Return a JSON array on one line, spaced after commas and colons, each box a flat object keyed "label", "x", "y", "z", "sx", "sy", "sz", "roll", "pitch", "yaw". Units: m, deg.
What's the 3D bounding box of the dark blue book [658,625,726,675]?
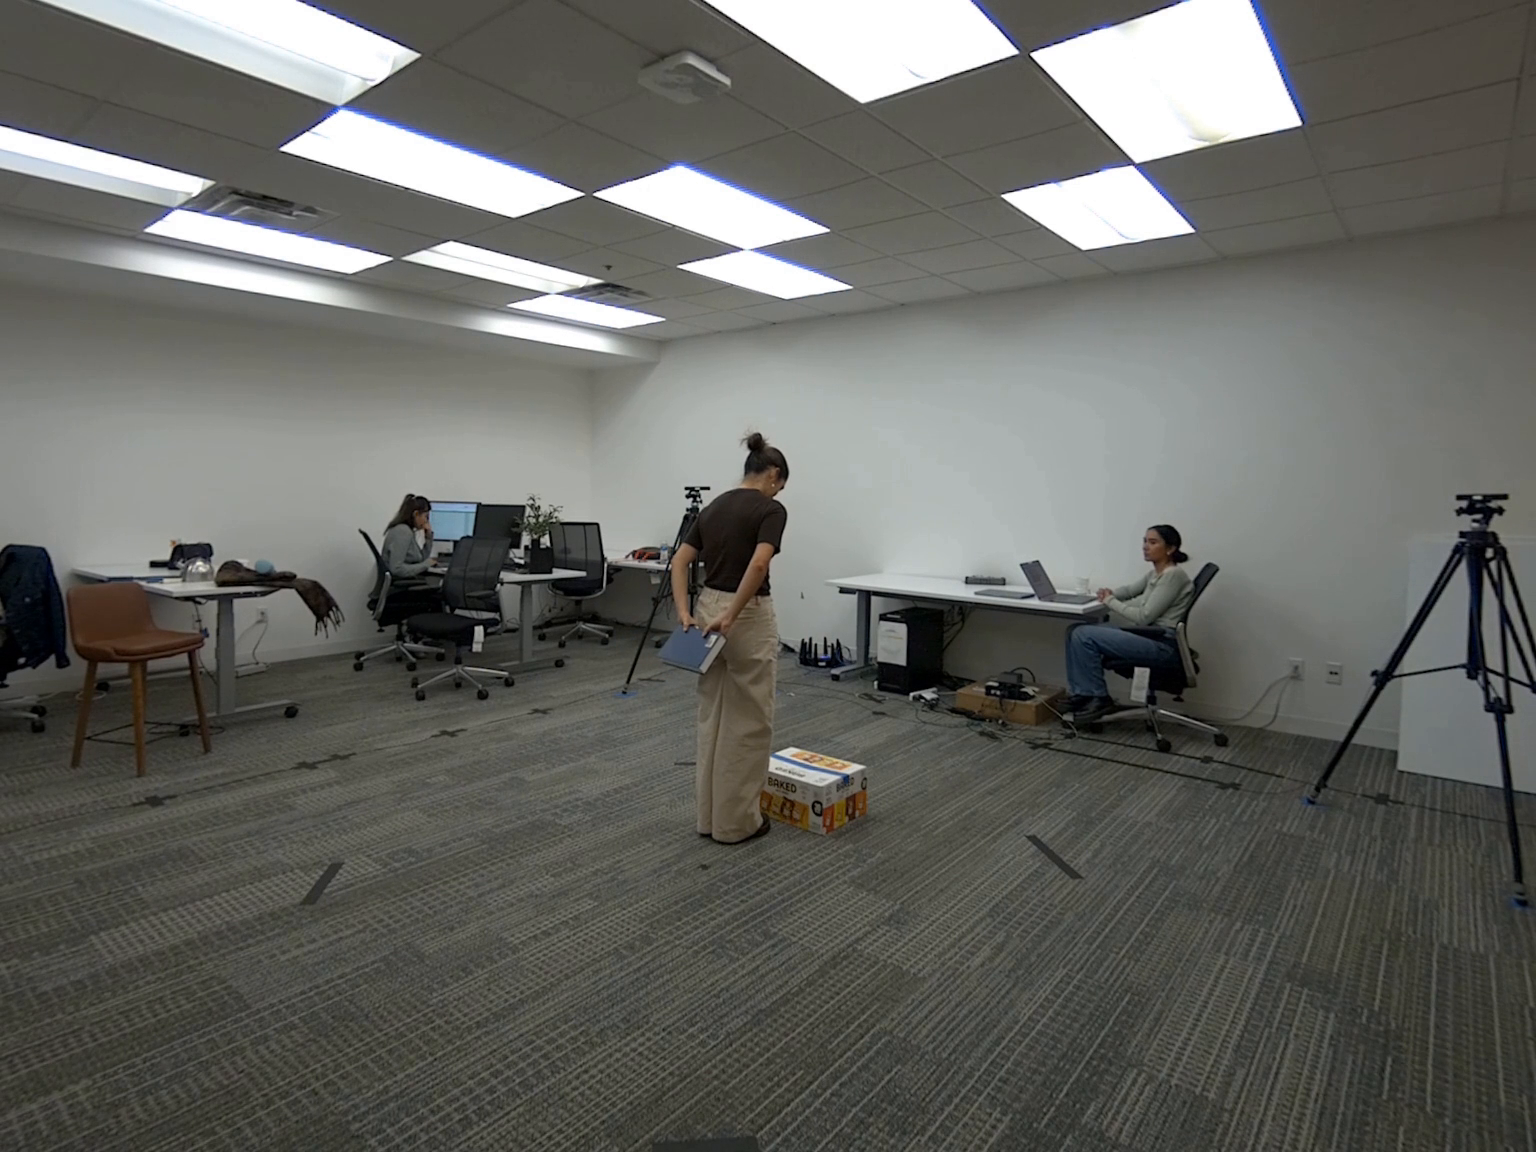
[{"label": "dark blue book", "x": -0.294, "y": 0.270, "z": 3.175, "sx": 0.254, "sy": 0.164, "sz": 0.043, "roll": 7, "pitch": -37, "yaw": 44}]
